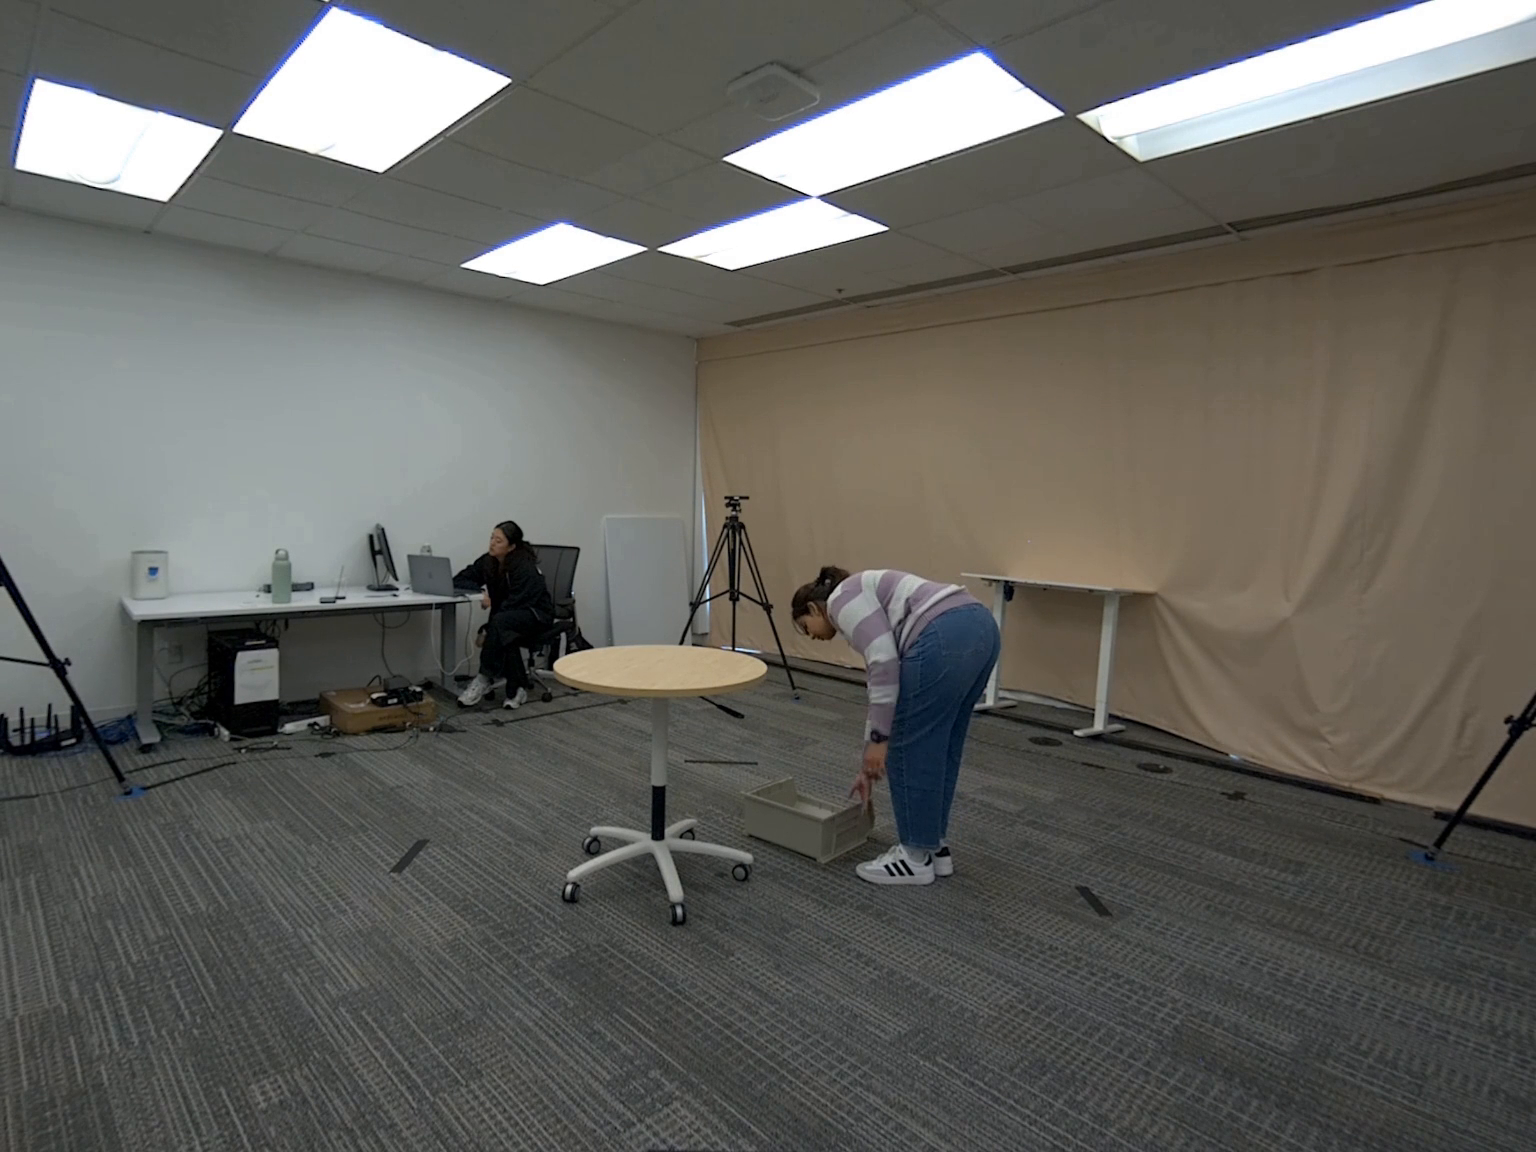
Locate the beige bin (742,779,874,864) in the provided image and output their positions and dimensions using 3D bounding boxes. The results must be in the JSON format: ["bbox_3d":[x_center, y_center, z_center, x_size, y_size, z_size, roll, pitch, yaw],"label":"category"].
[{"bbox_3d":[0.159,0.988,3.480,0.433,0.188,0.369,5,7,41],"label":"beige bin"}]
